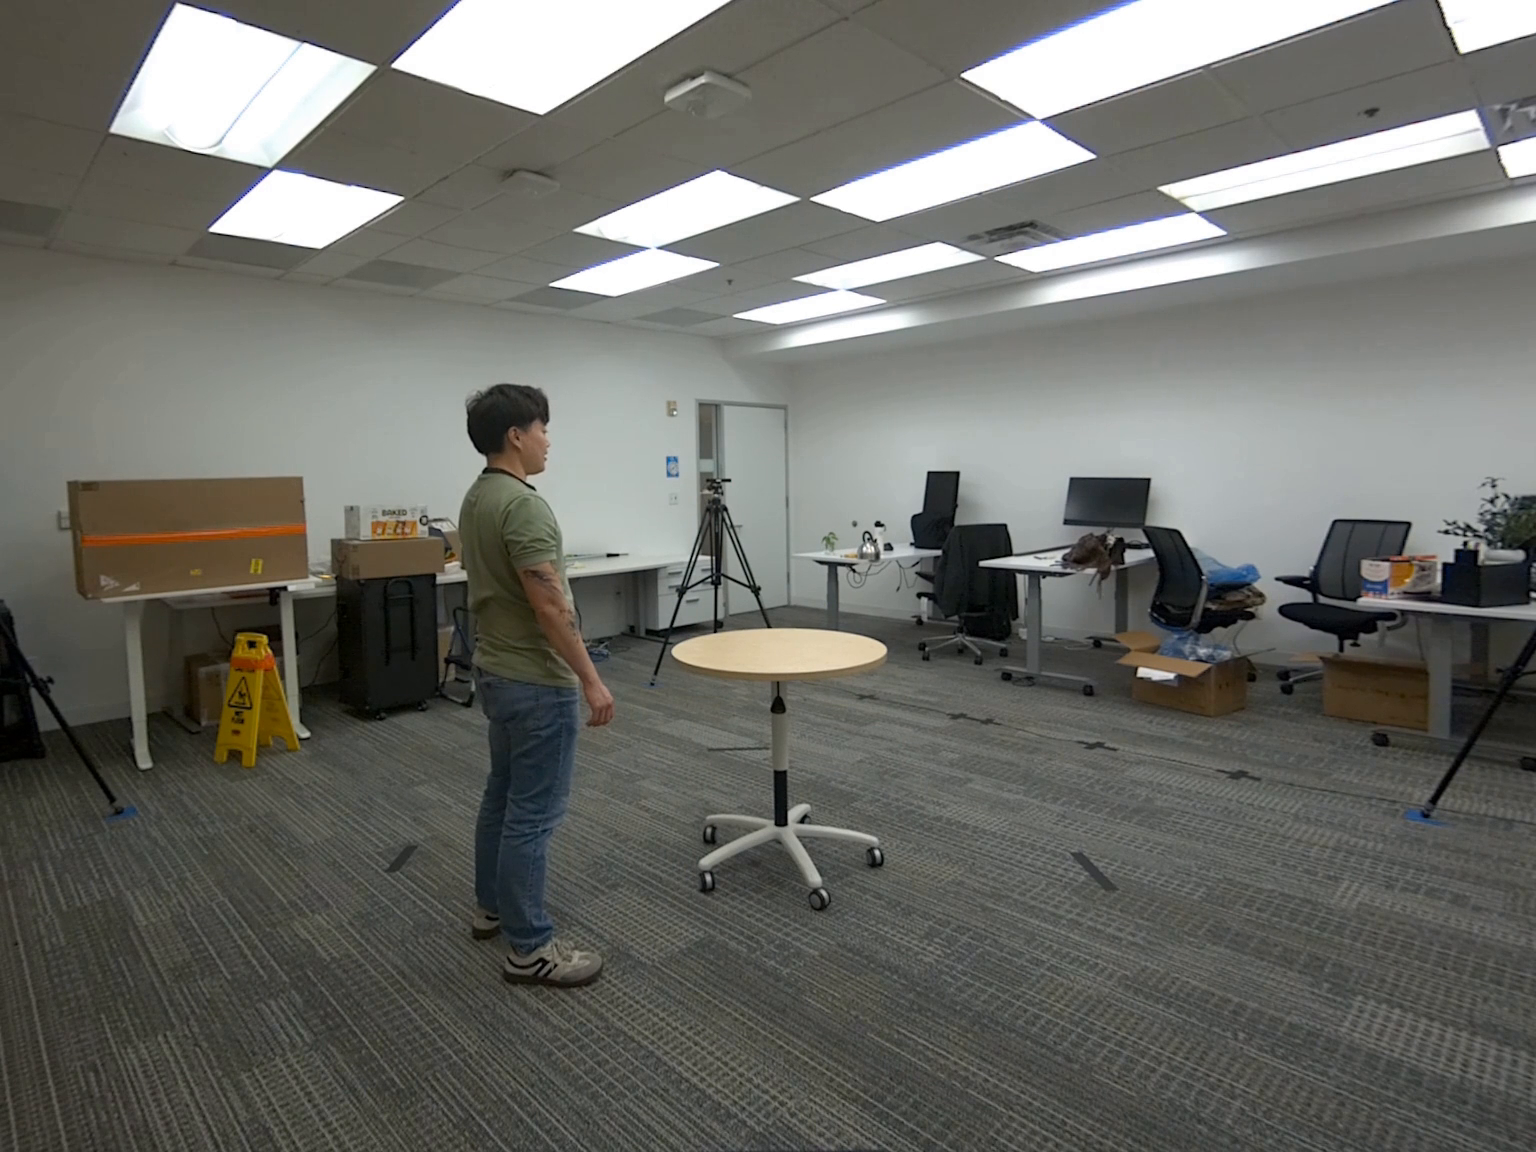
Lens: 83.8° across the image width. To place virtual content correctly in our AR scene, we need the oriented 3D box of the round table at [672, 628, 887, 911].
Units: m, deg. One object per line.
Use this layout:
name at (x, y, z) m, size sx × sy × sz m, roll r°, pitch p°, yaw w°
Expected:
round table at (0.046, 0.653, 3.088) m, size 0.763 × 0.791 × 0.768 m, roll -1°, pitch 5°, yaw -2°
